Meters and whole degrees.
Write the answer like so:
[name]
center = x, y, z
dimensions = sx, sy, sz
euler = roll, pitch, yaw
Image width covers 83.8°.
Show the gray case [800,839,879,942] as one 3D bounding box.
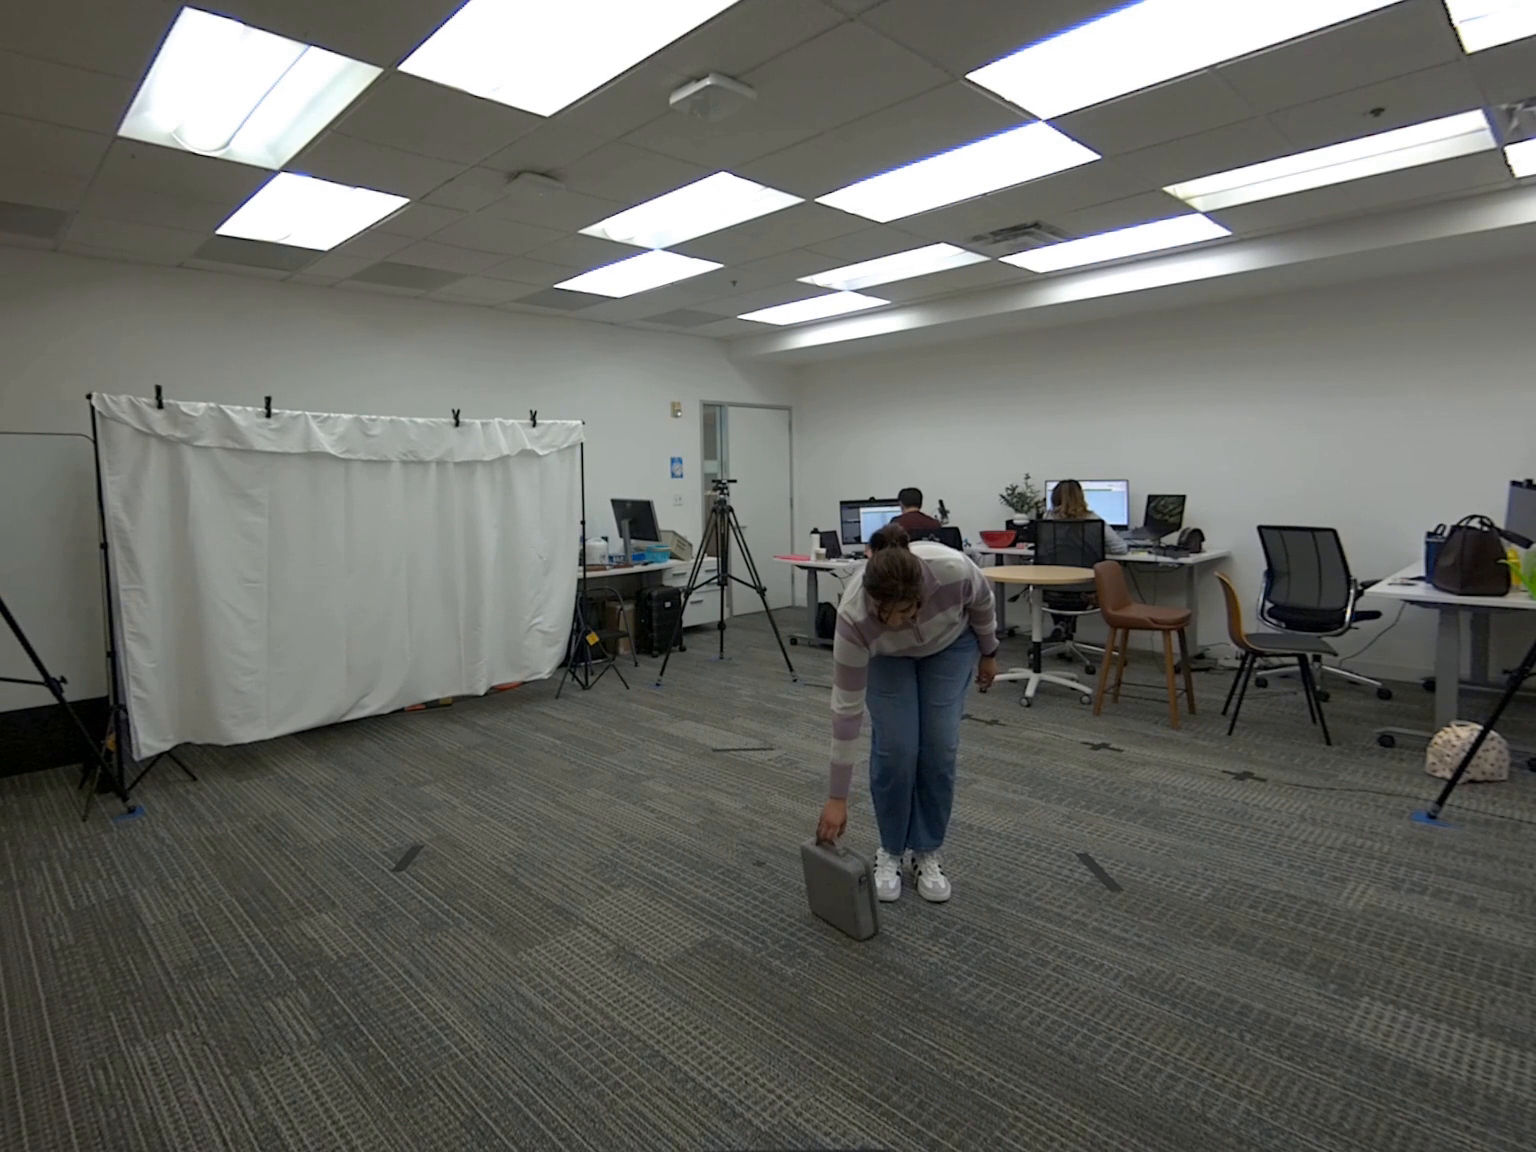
[gray case]
center = 0.234, 0.961, 2.661
dimensions = 0.102, 0.258, 0.264
euler = -14, 11, -33
